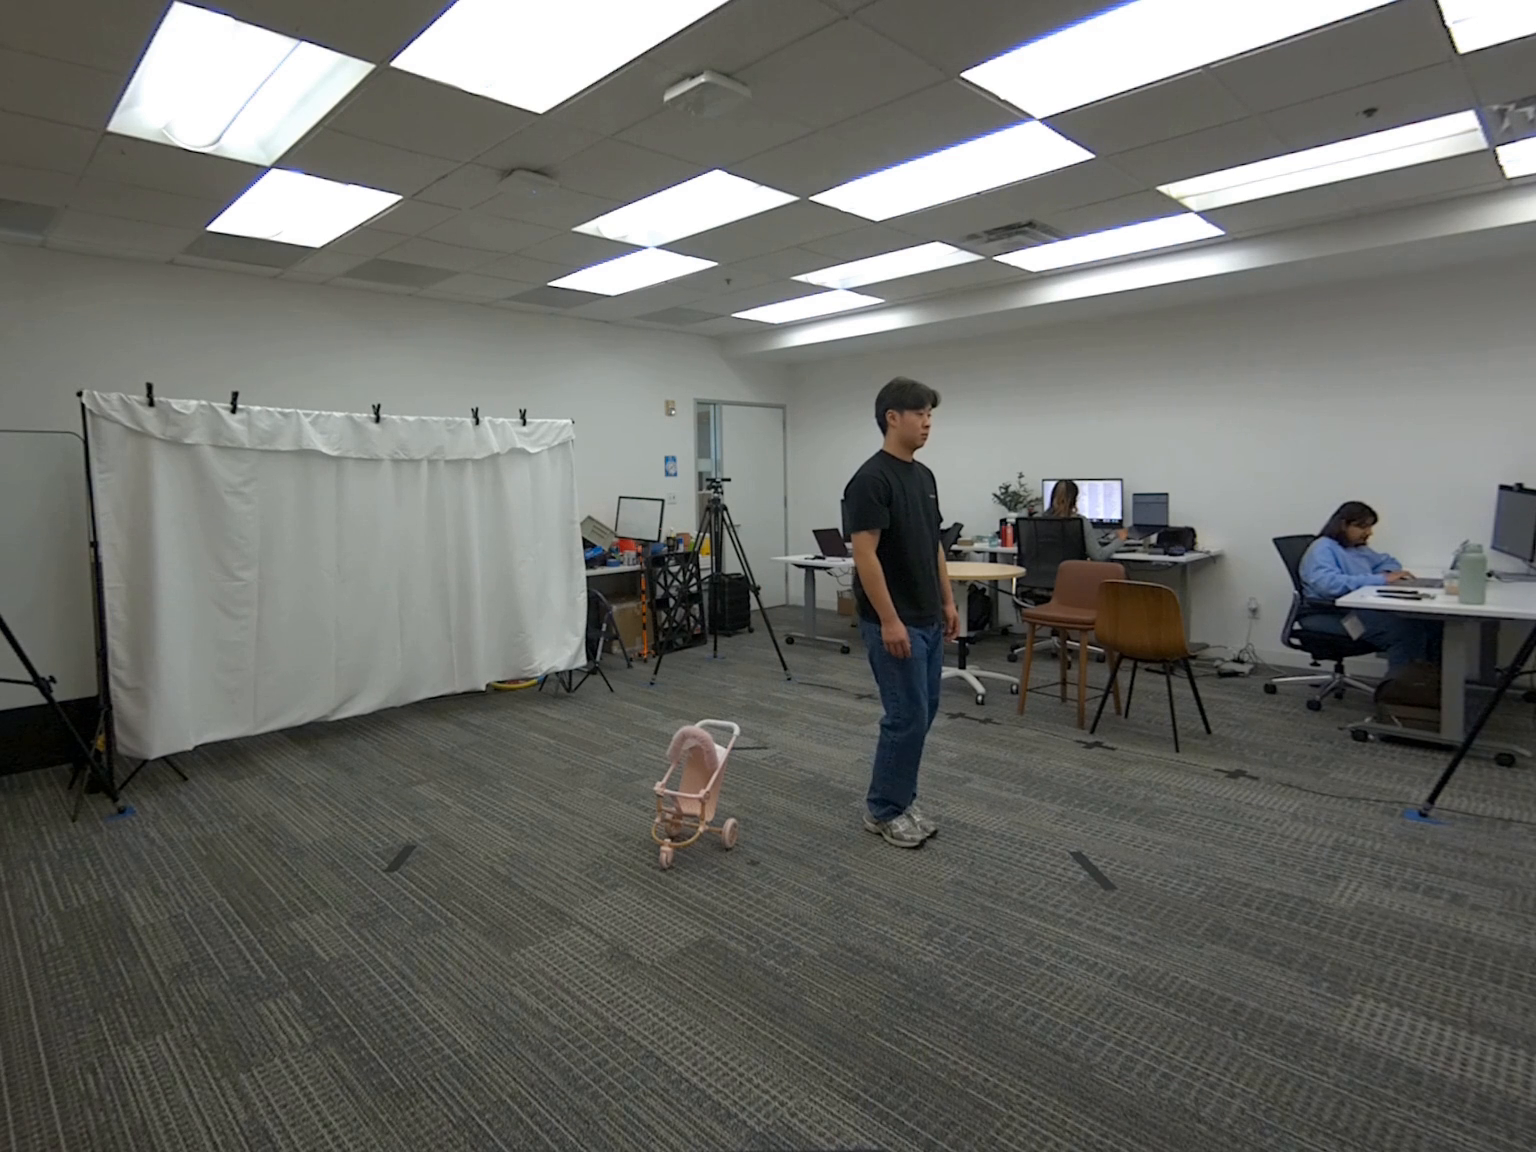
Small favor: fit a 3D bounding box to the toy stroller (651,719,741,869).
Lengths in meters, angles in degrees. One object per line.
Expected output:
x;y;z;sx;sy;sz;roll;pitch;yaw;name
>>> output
-0.282;0.805;3.224;0.289;0.539;0.330;1;-11;32;toy stroller
